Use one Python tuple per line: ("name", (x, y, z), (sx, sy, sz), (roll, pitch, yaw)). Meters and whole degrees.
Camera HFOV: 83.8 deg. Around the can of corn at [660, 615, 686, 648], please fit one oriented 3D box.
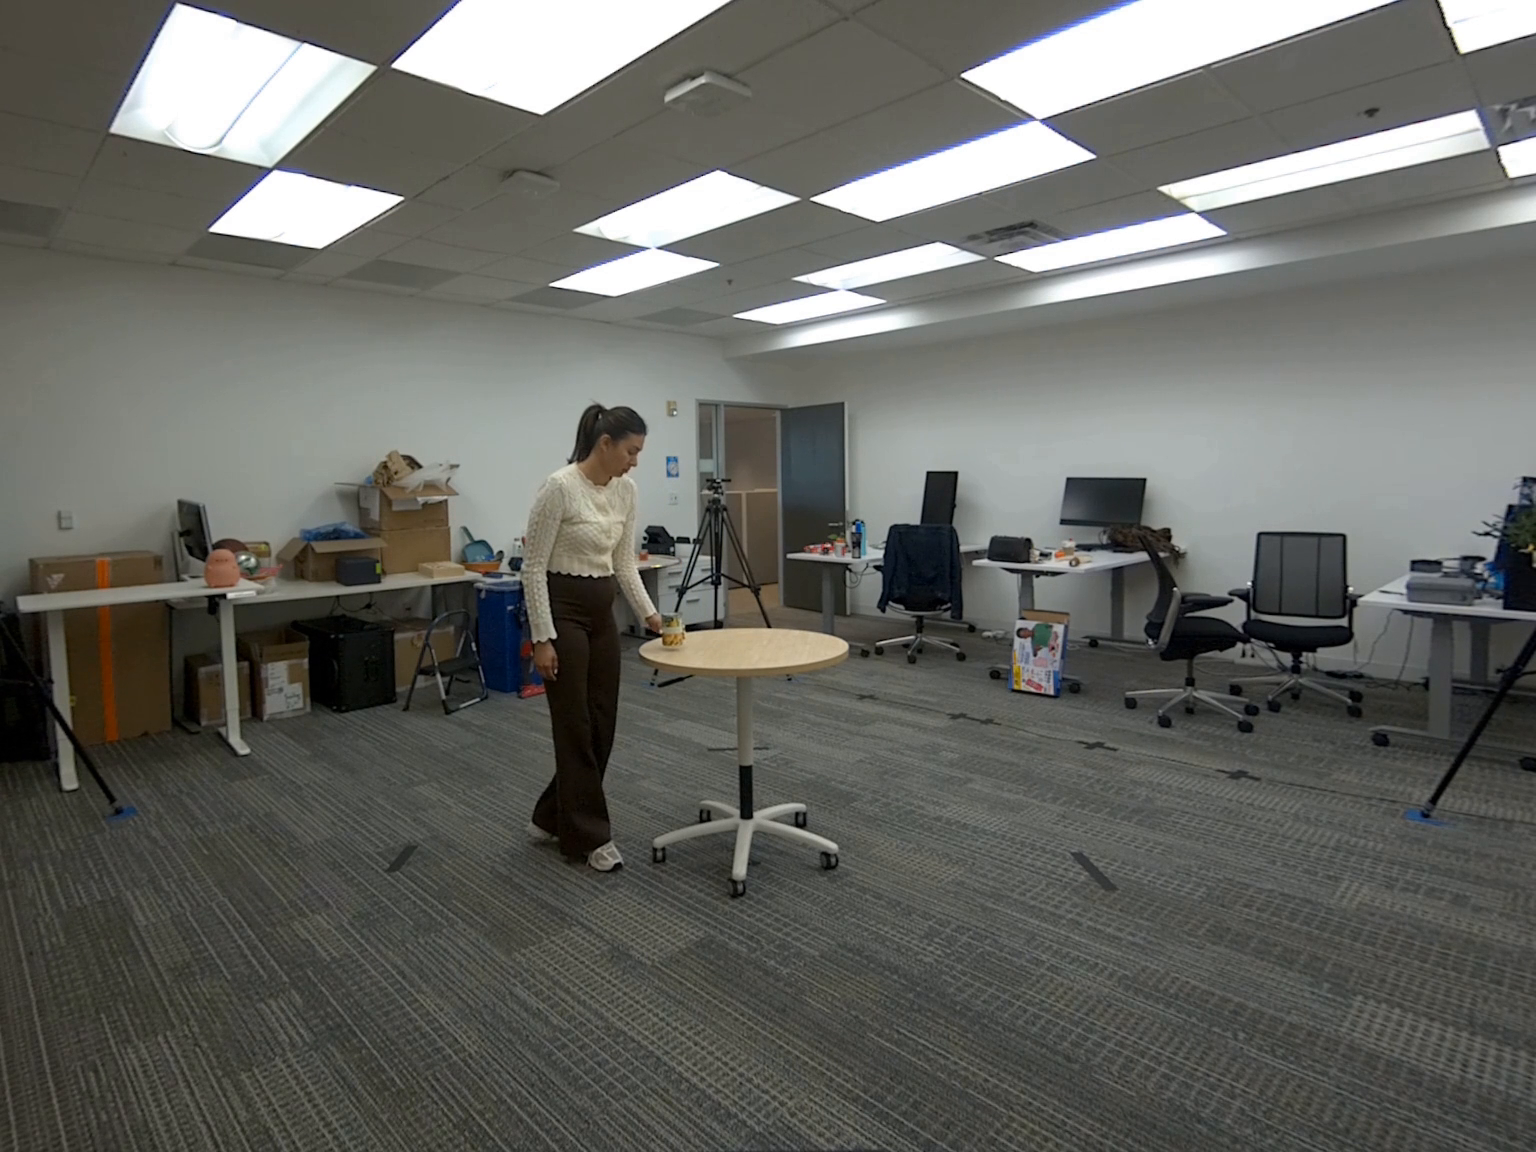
("can of corn", (-0.343, 0.194, 3.074), (0.074, 0.111, 0.074), (-4, 1, -2))
